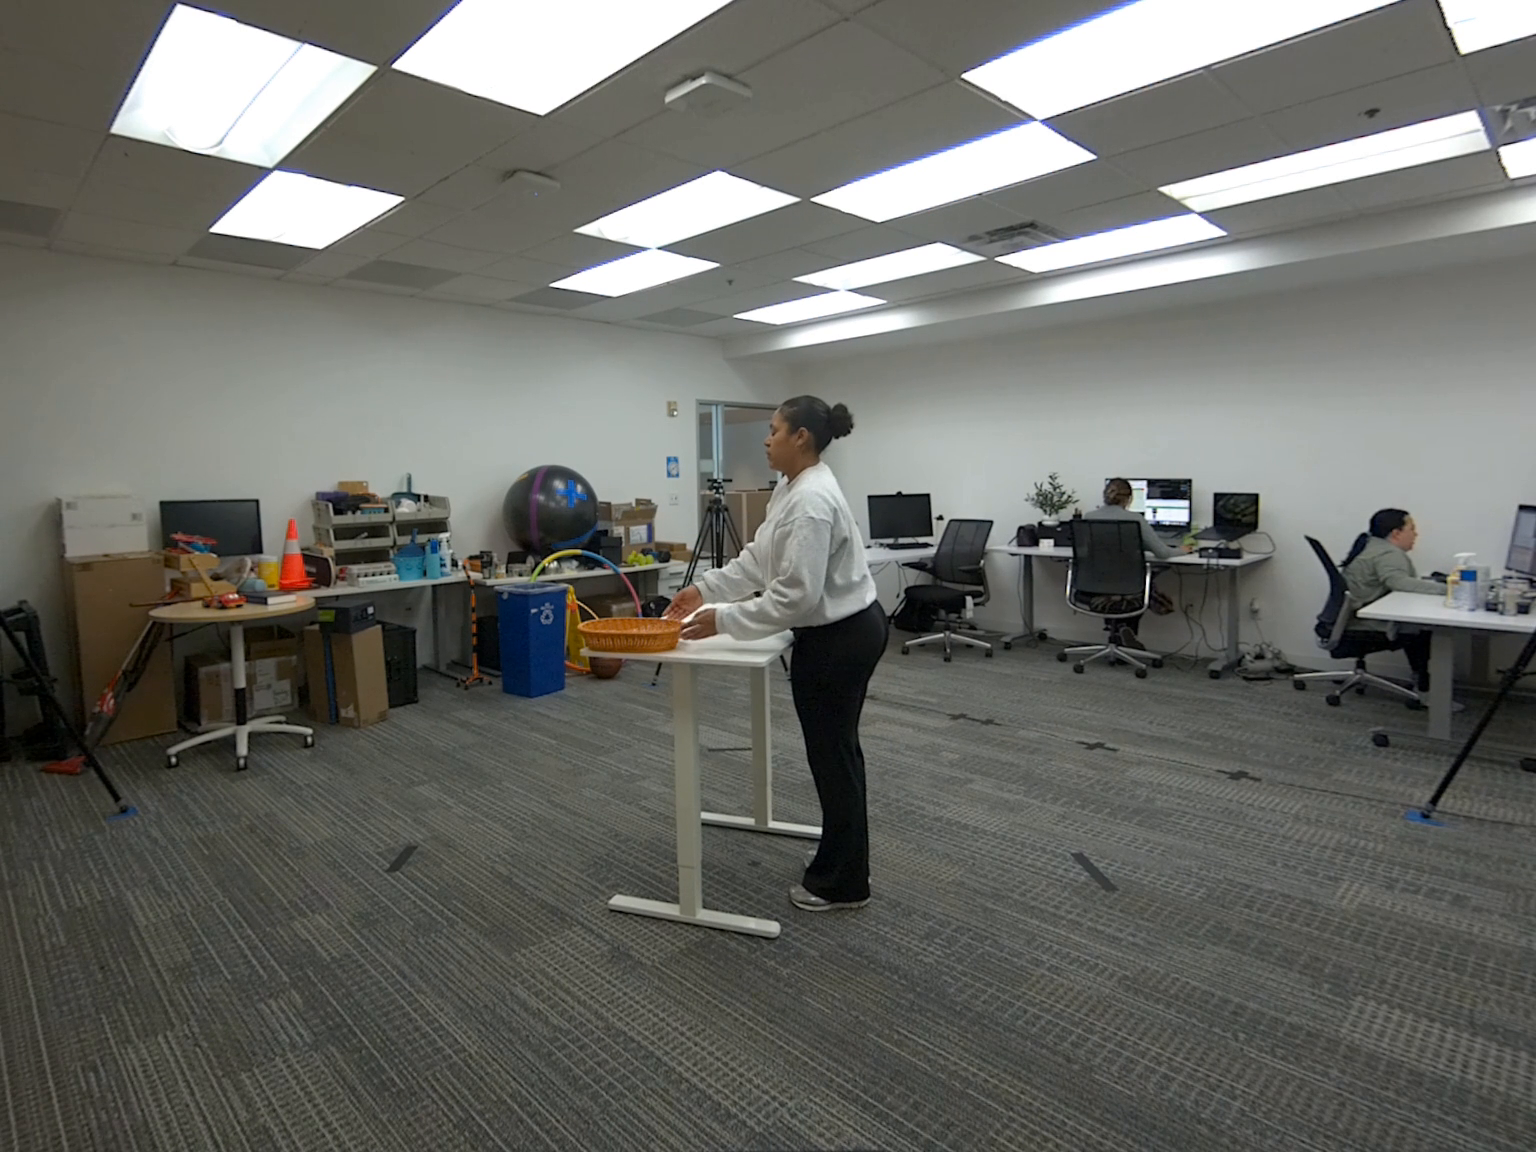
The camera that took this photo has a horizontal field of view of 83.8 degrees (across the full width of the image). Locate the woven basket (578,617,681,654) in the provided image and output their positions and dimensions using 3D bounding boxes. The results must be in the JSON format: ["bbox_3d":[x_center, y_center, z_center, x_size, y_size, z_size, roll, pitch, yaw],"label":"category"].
[{"bbox_3d":[-0.417,0.194,2.663,0.355,0.073,0.250,1,7,13],"label":"woven basket"}]
